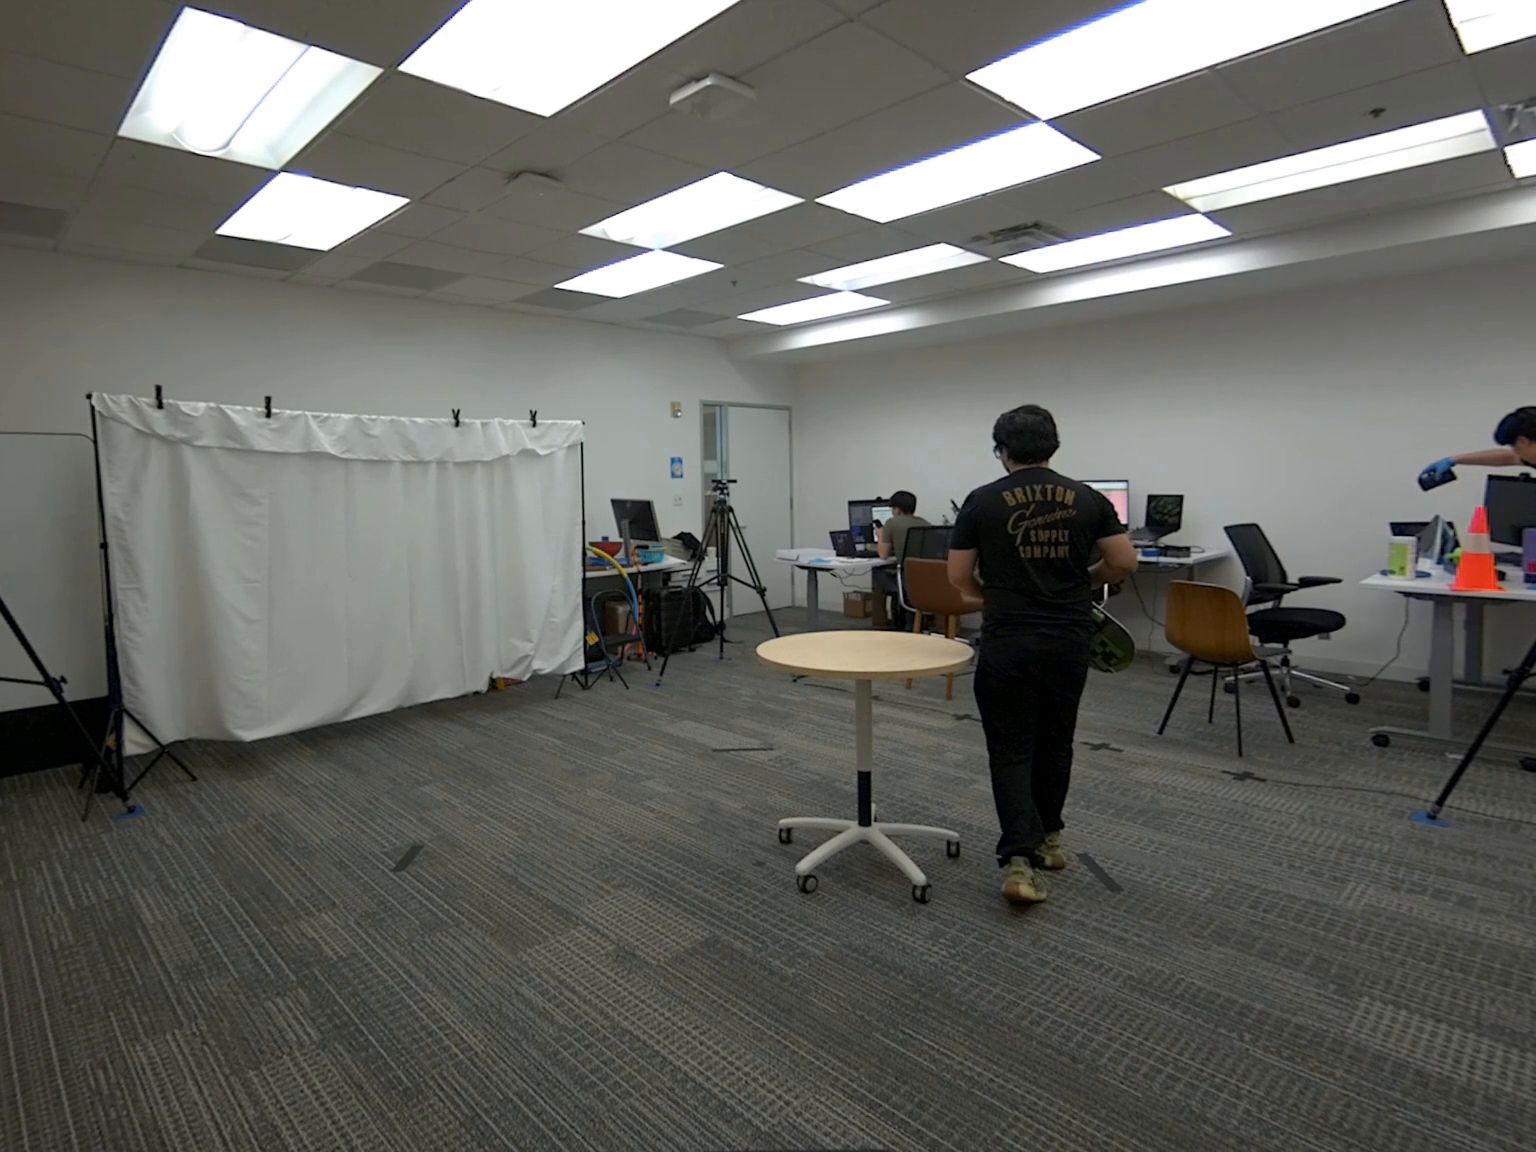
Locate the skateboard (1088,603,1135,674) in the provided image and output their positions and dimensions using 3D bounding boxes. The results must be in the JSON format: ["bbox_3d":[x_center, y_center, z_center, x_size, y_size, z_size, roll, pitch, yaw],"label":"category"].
[{"bbox_3d":[1.001,0.062,3.160,0.806,0.193,0.108,43,22,20],"label":"skateboard"}]
